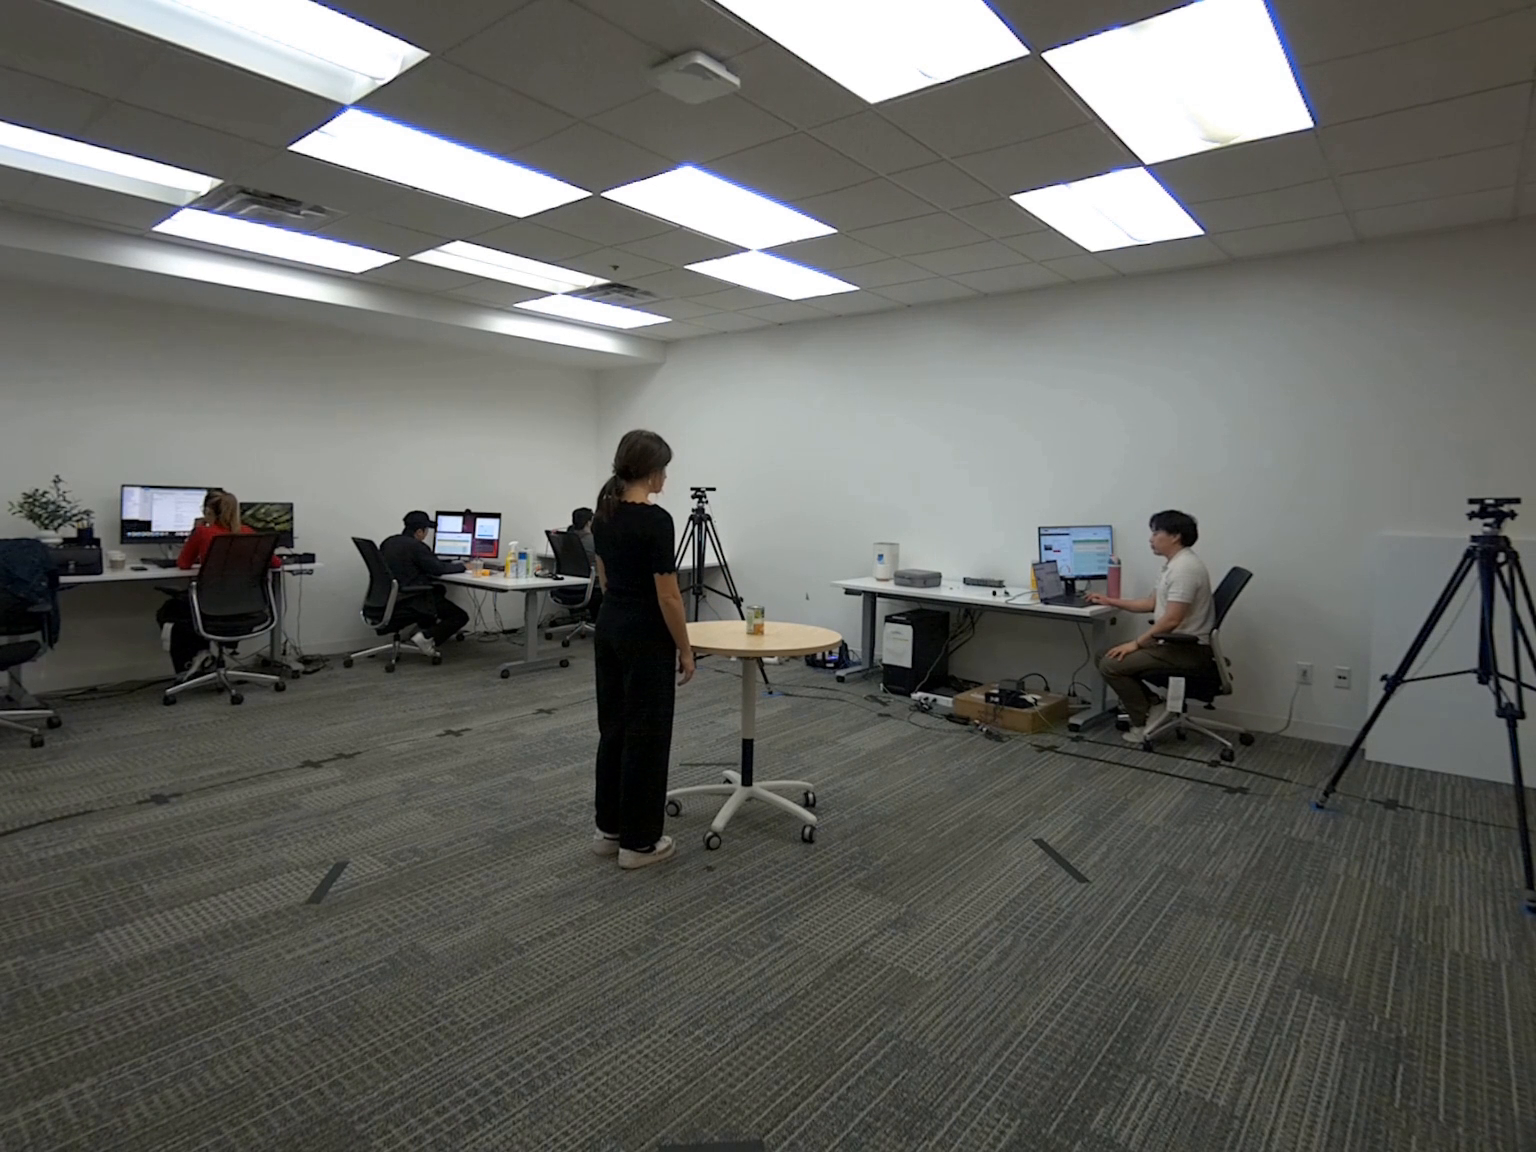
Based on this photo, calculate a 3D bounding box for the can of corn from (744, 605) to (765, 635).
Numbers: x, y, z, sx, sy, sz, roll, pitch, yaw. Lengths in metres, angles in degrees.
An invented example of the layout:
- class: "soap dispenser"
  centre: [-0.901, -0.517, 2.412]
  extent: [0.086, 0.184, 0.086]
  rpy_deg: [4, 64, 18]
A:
- class: "can of corn"
  centre: [-0.065, 0.184, 3.577]
  extent: [0.074, 0.111, 0.074]
  rpy_deg: [3, 3, -2]
